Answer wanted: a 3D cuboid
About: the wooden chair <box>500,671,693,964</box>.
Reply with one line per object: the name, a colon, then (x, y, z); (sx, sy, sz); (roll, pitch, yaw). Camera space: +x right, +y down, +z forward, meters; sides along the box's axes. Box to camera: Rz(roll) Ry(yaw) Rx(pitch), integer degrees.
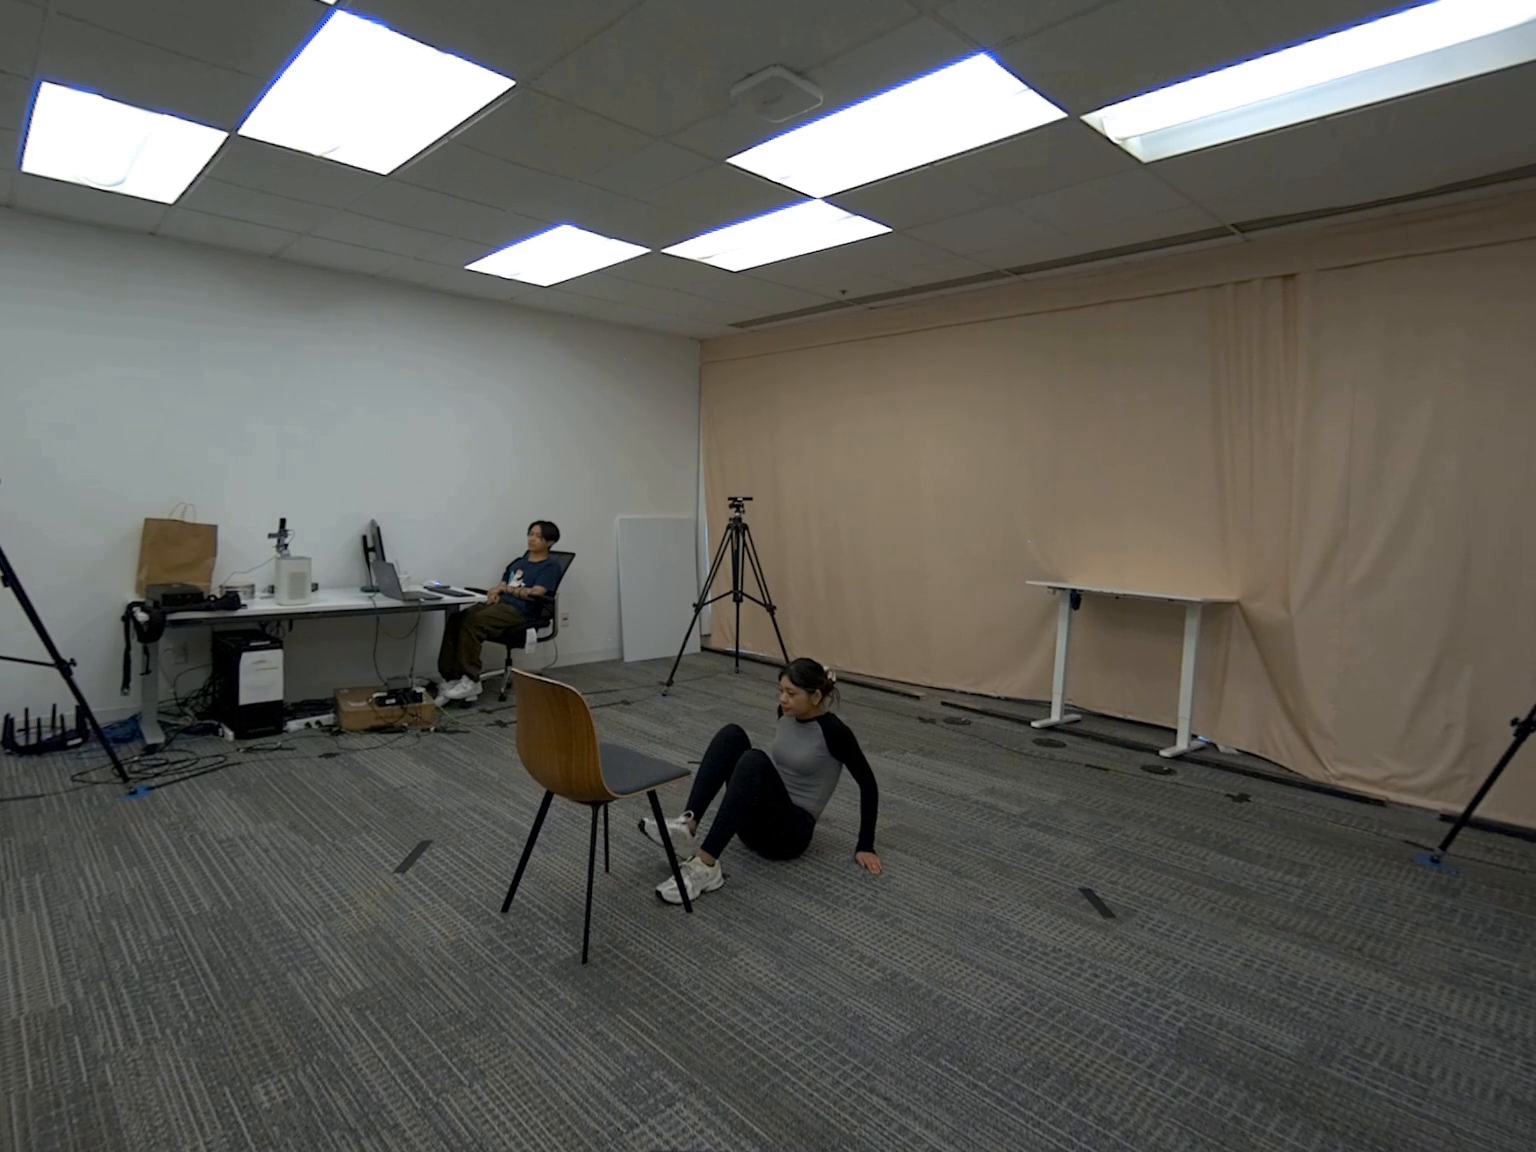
wooden chair: (-0.558, 0.699, 2.784); (0.490, 0.873, 0.513); (4, 9, 41)
